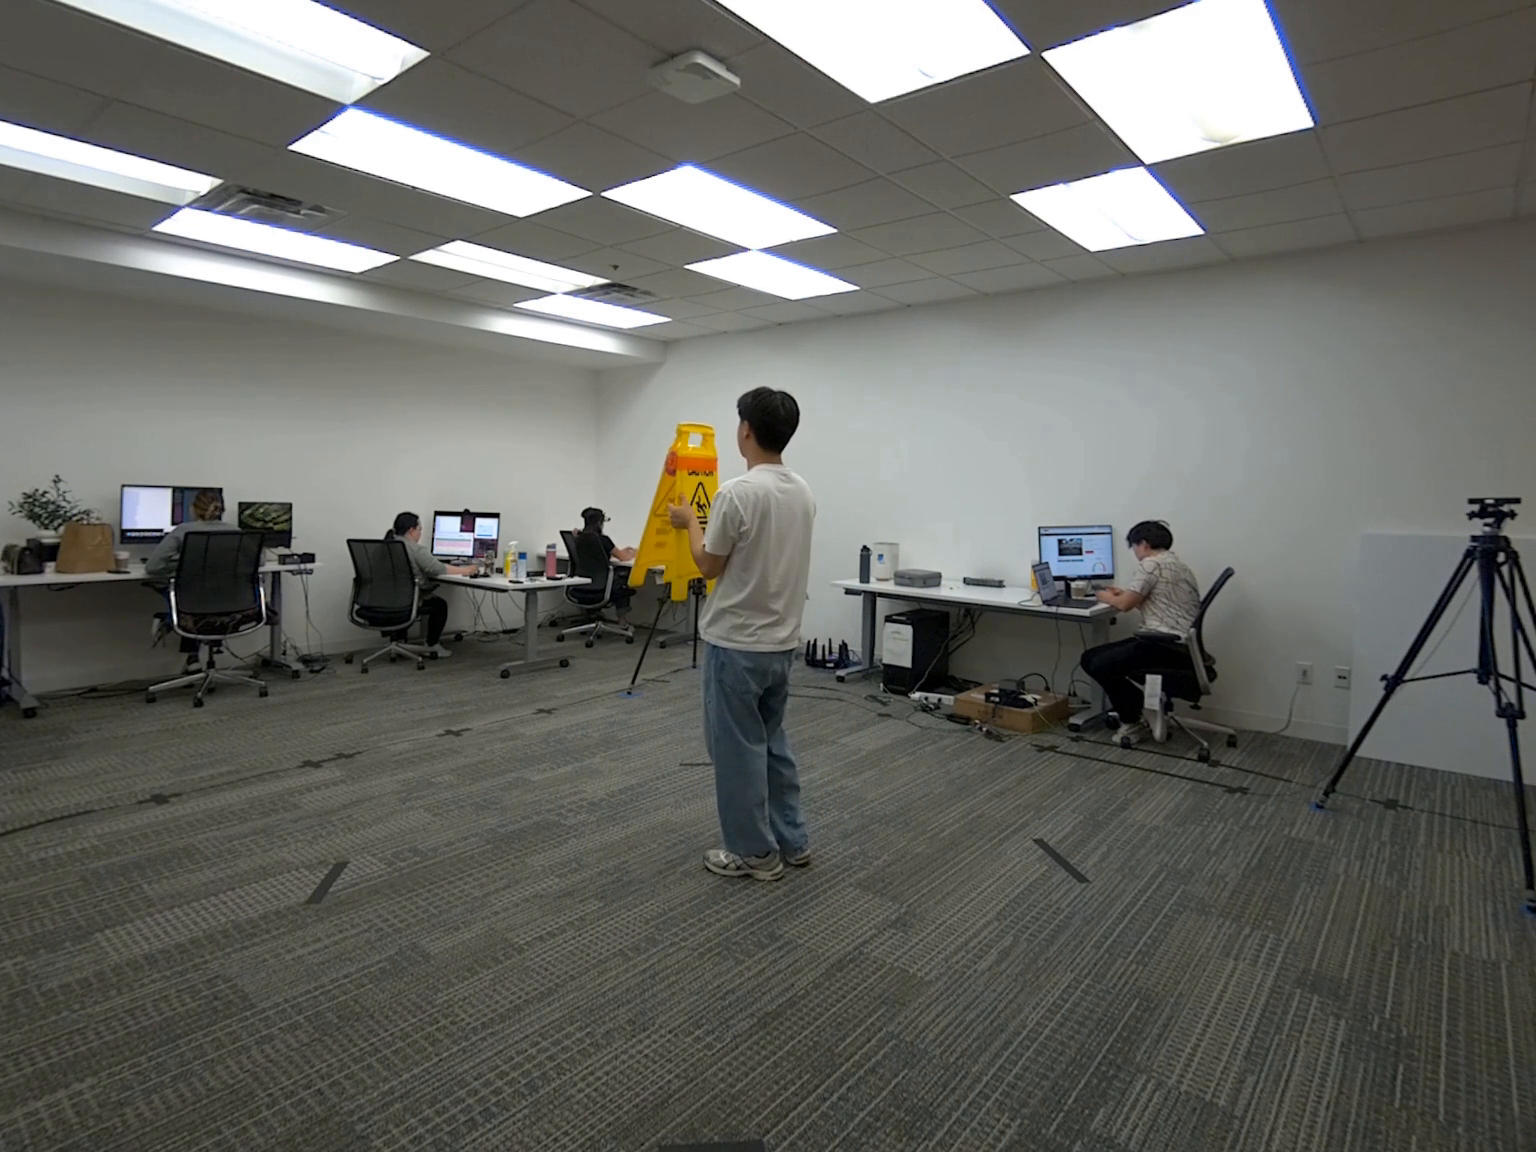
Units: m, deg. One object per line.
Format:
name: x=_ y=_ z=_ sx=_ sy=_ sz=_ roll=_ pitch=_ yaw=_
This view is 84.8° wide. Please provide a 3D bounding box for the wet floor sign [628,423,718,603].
wet floor sign: x=-0.326 y=-0.262 z=3.266 sx=0.300 sy=0.642 sz=0.274 roll=13 pitch=9 yaw=35
